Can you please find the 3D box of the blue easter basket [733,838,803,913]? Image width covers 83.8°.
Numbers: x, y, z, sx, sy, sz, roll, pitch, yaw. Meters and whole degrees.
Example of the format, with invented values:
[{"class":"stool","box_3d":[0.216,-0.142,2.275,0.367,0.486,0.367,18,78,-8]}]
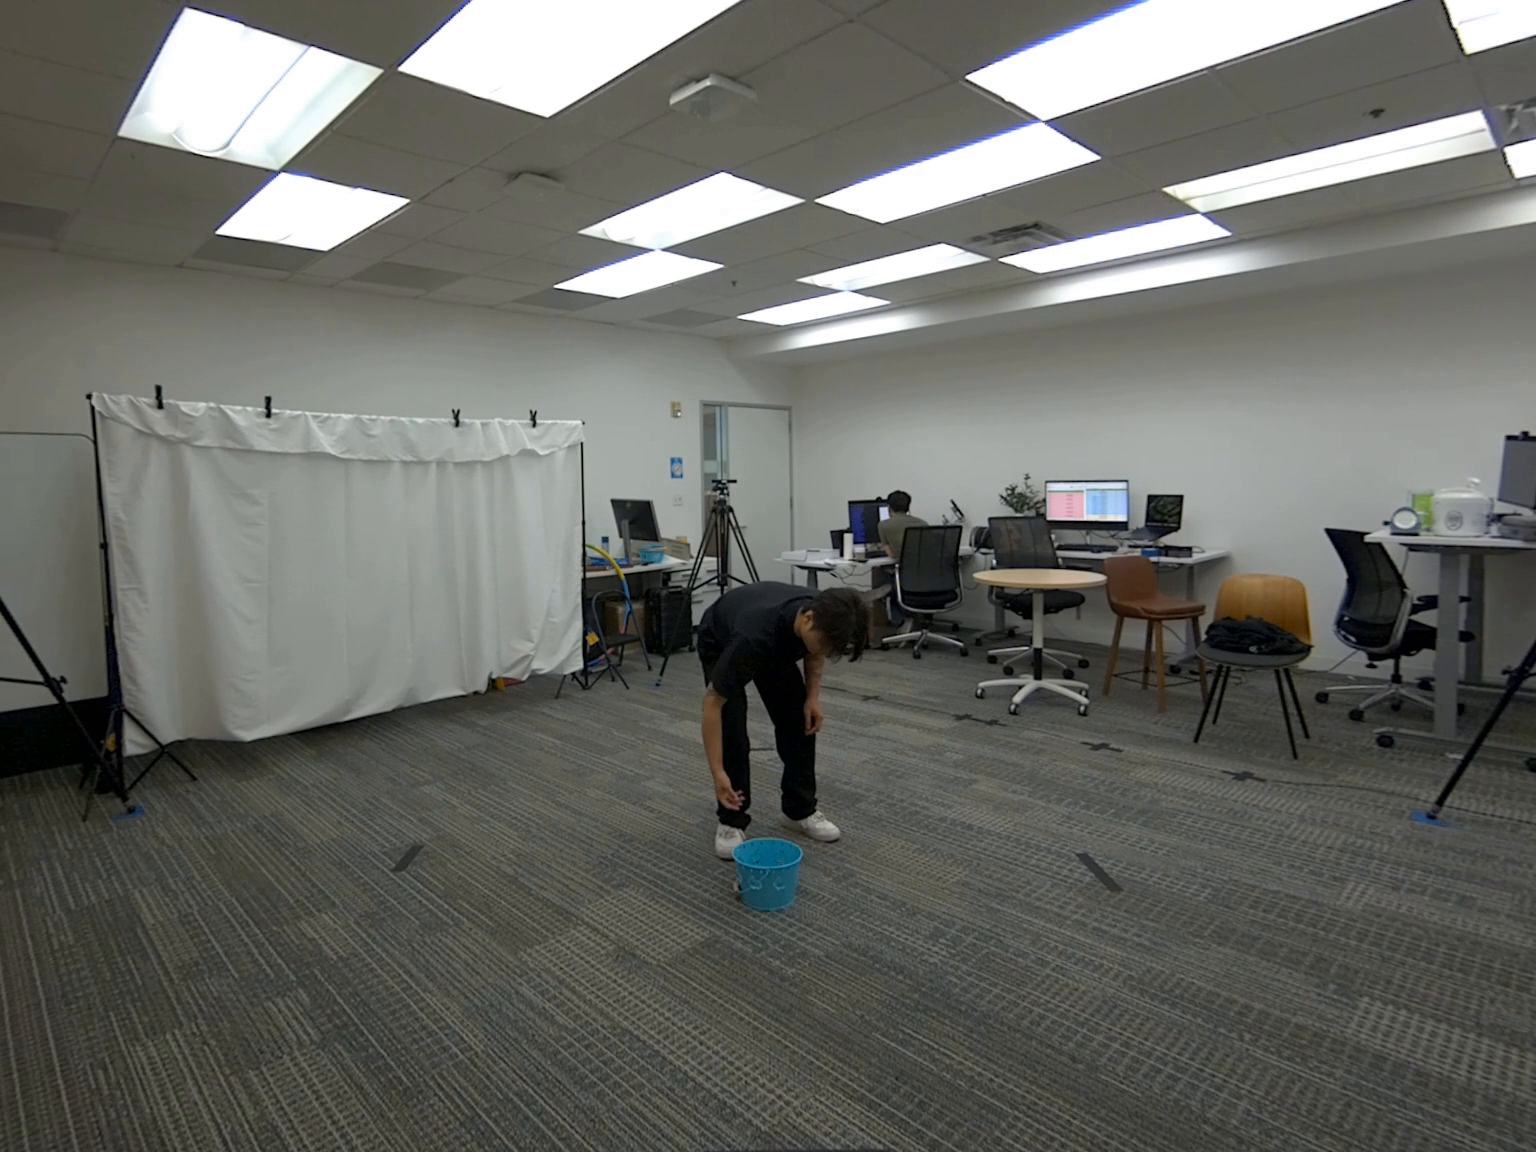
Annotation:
[{"class":"blue easter basket","box_3d":[-0.001,0.997,2.859,0.243,0.155,0.245,-1,6,-2]}]
